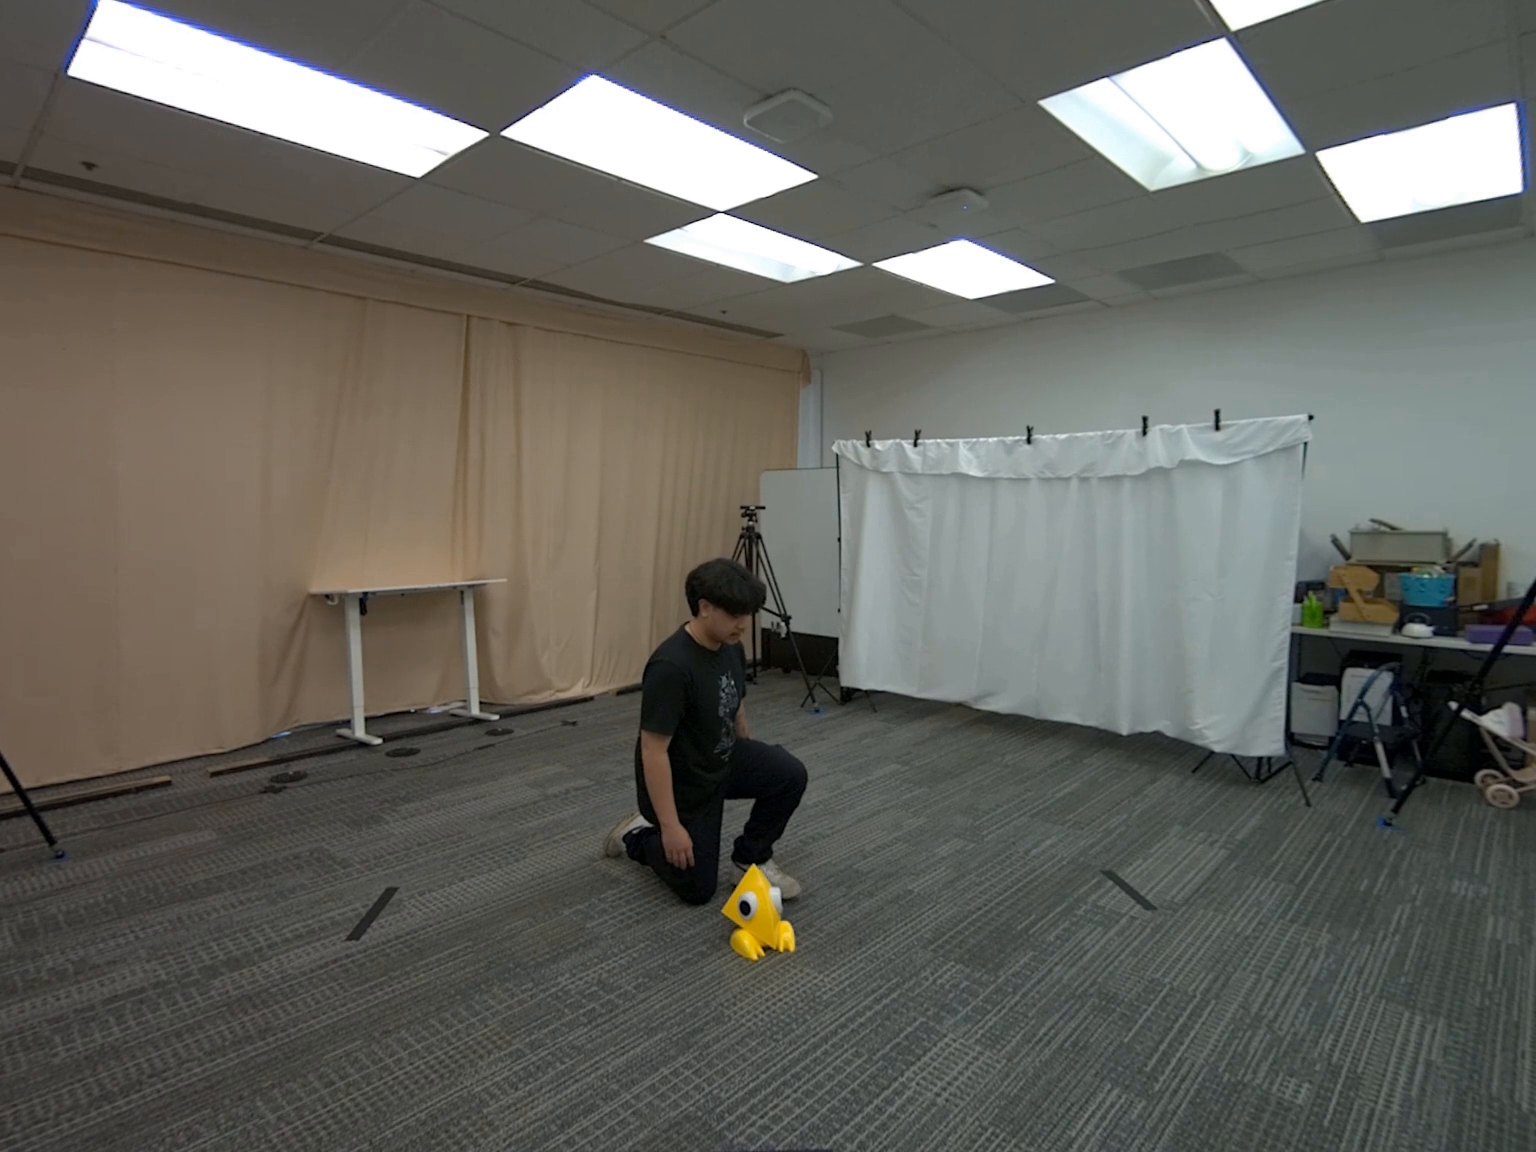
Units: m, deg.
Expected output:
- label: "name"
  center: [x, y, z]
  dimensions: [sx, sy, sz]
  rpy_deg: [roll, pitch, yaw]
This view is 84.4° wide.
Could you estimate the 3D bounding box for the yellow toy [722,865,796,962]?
- label: "yellow toy"
  center: [-0.017, 1.052, 2.684]
  dimensions: [0.200, 0.230, 0.198]
  rpy_deg: [-1, 4, -25]
